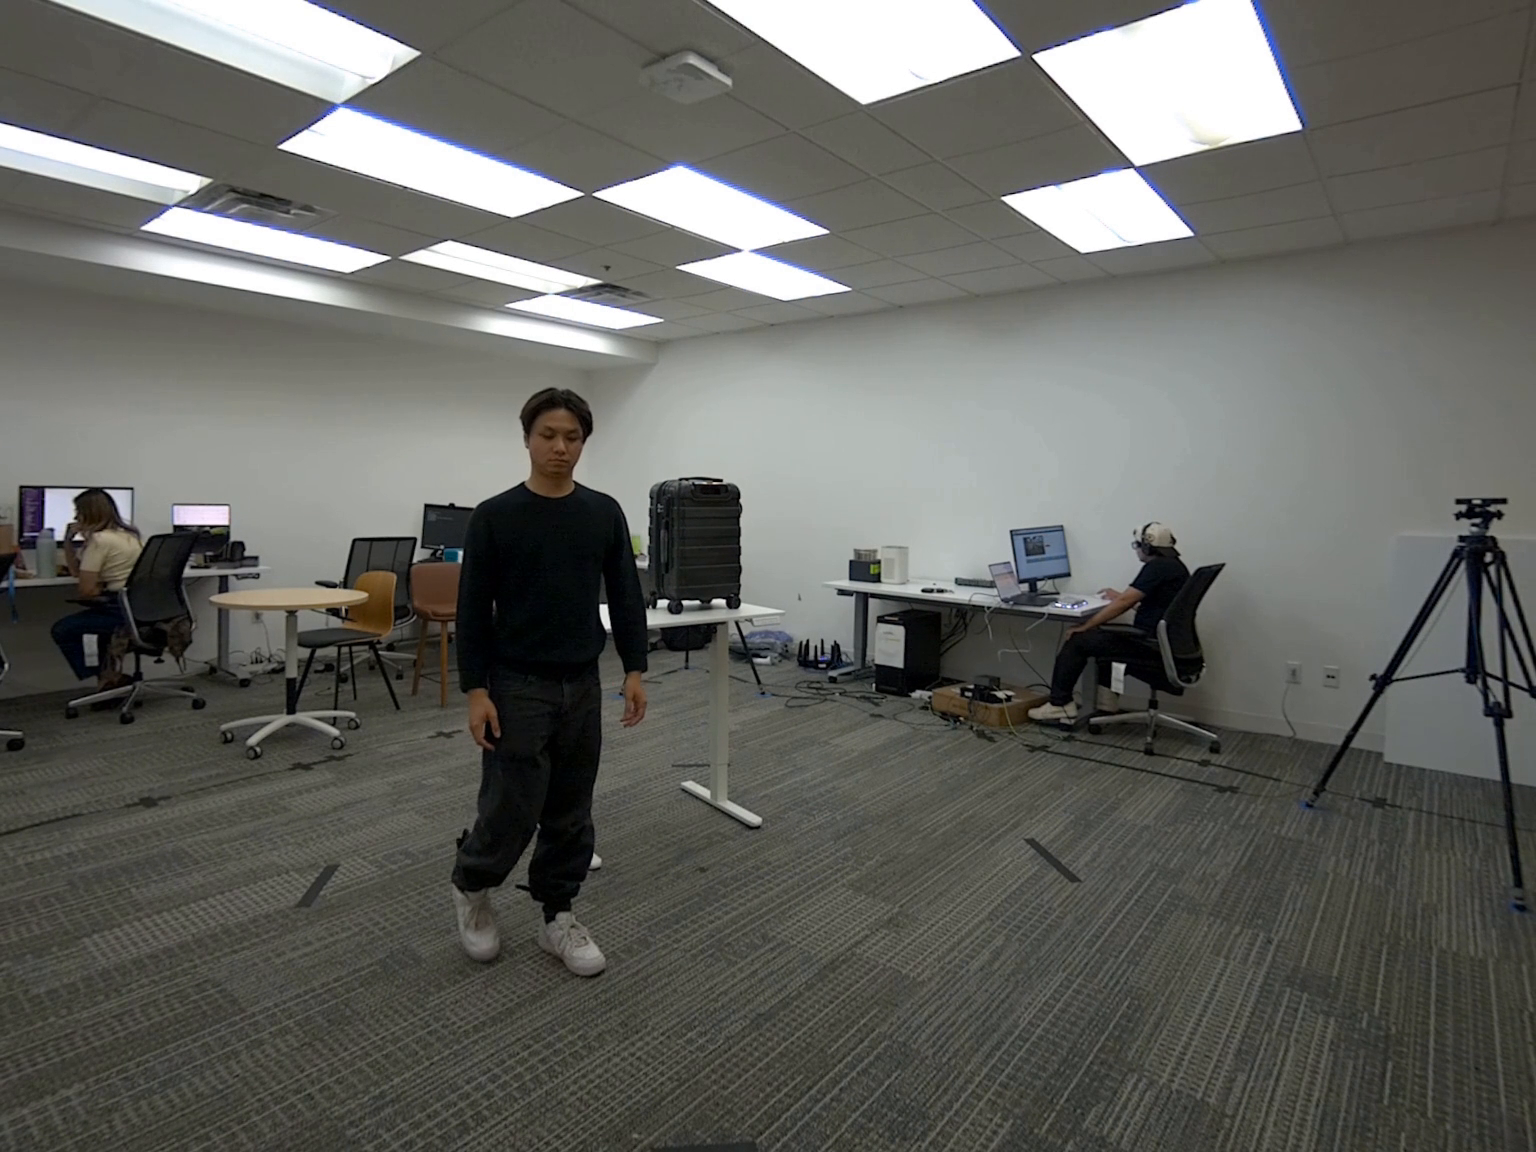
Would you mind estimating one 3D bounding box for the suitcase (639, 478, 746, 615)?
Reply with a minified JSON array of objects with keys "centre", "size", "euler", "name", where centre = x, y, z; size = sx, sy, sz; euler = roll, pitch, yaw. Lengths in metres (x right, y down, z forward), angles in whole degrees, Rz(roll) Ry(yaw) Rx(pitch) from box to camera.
[{"centre":[-0.322,-0.142,3.597],"size":[0.364,0.548,0.256],"euler":[-3,4,-37],"name":"suitcase"}]
